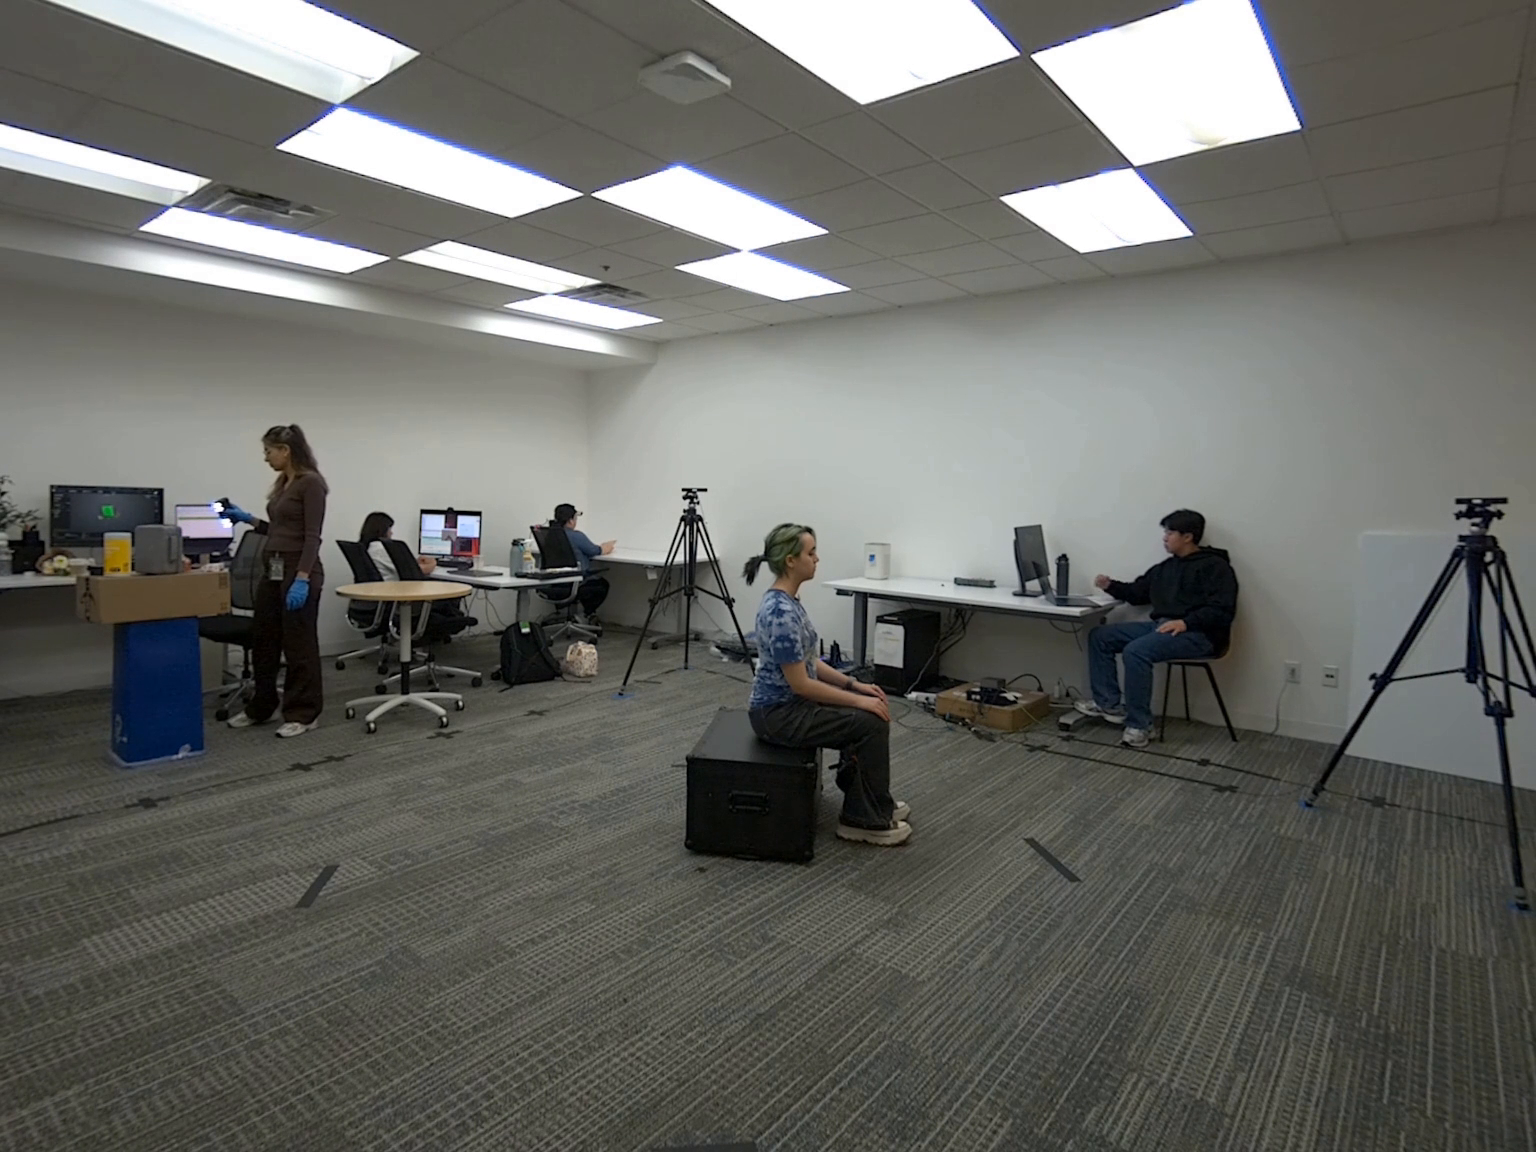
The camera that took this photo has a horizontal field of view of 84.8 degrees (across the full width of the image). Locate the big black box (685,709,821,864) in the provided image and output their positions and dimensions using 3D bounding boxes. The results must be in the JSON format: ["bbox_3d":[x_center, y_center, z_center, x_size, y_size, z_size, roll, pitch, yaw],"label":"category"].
[{"bbox_3d":[-0.036,0.835,3.587,0.526,0.395,0.857,1,5,7],"label":"big black box"}]
